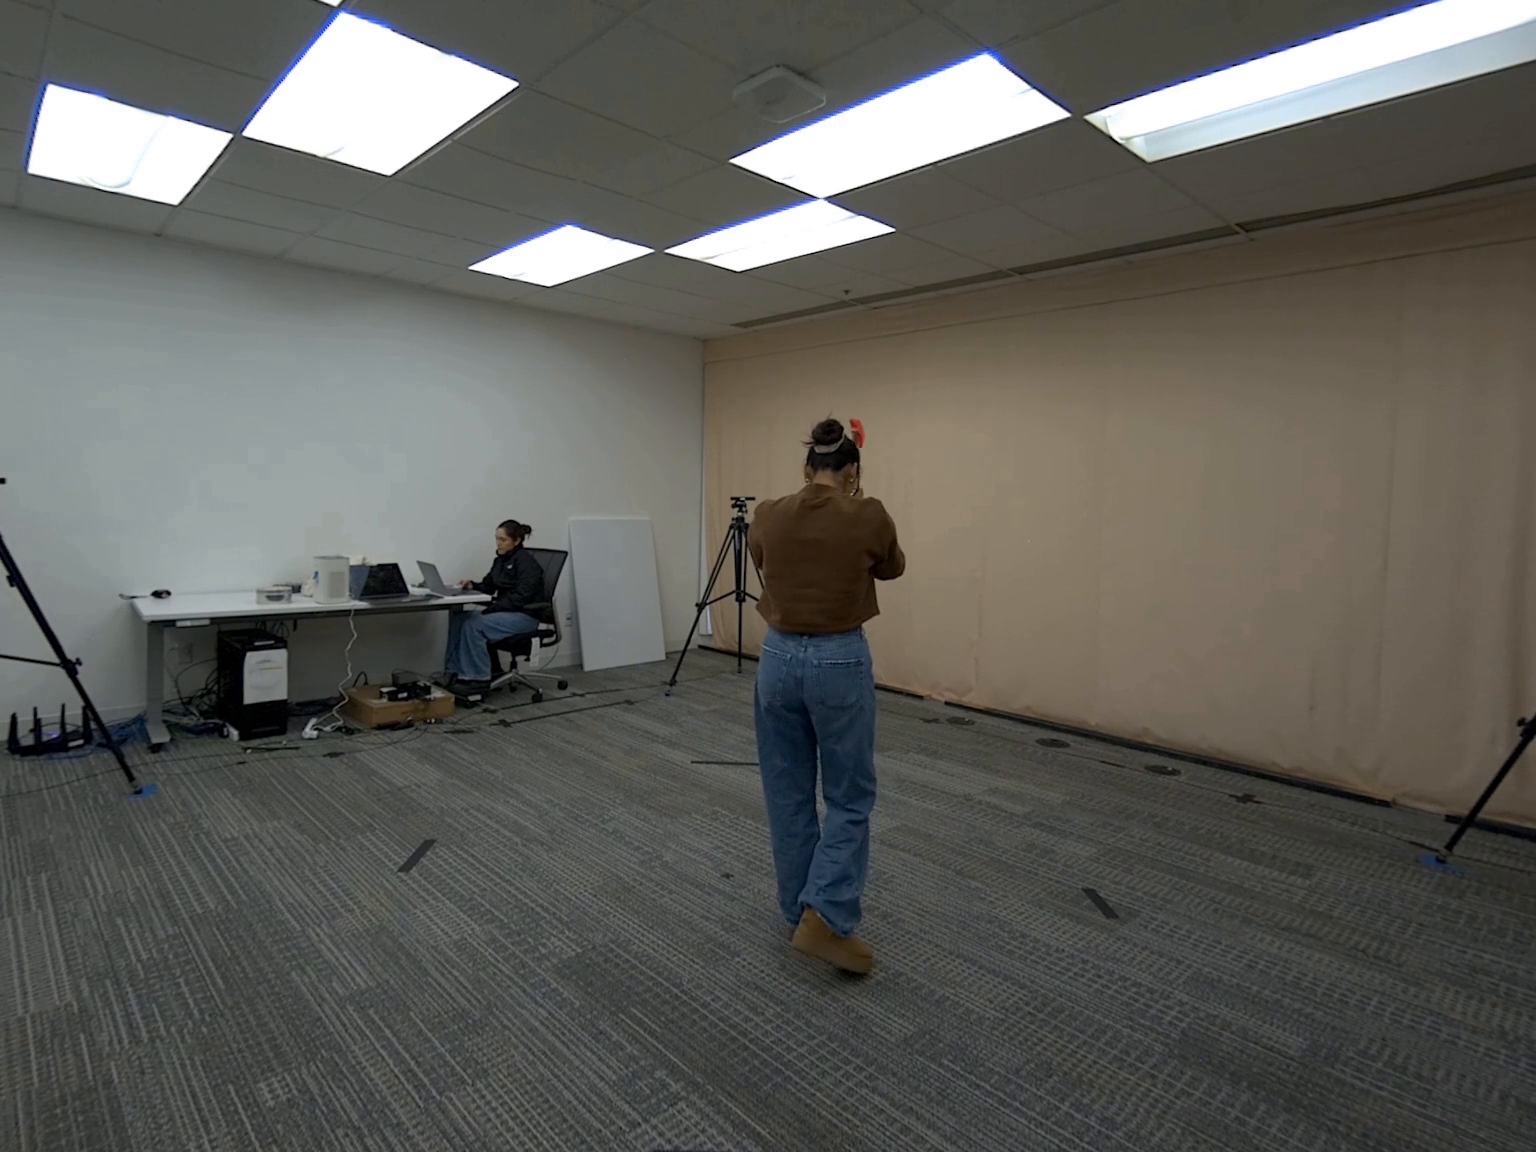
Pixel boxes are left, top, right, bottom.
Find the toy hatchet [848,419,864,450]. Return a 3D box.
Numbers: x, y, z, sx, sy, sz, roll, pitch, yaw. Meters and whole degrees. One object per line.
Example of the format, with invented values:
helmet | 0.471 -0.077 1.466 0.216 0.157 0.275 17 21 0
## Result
toy hatchet | 0.303 -0.404 2.921 0.030 0.271 0.128 2 -4 23
